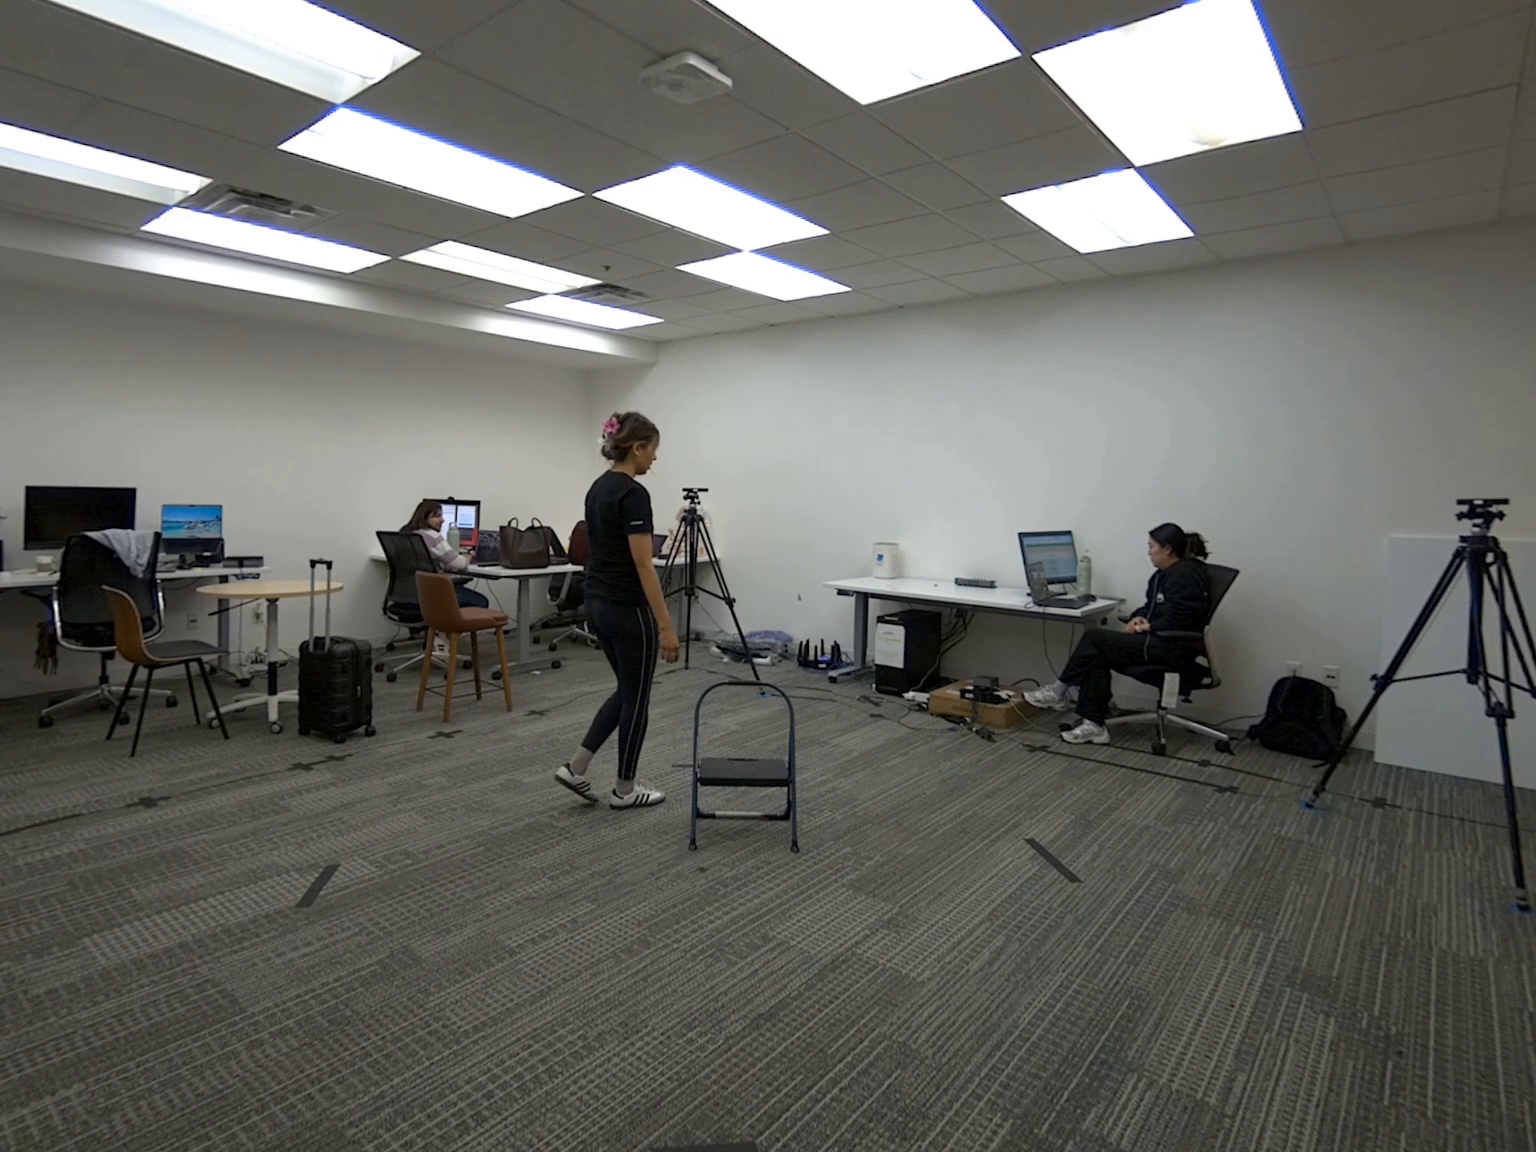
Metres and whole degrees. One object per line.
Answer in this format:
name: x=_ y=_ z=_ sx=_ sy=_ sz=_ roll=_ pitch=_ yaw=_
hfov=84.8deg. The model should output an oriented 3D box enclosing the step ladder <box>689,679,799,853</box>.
step ladder: x=-0.104 y=0.739 z=3.433 sx=0.430 sy=0.604 sz=0.351 roll=1 pitch=4 yaw=-2
